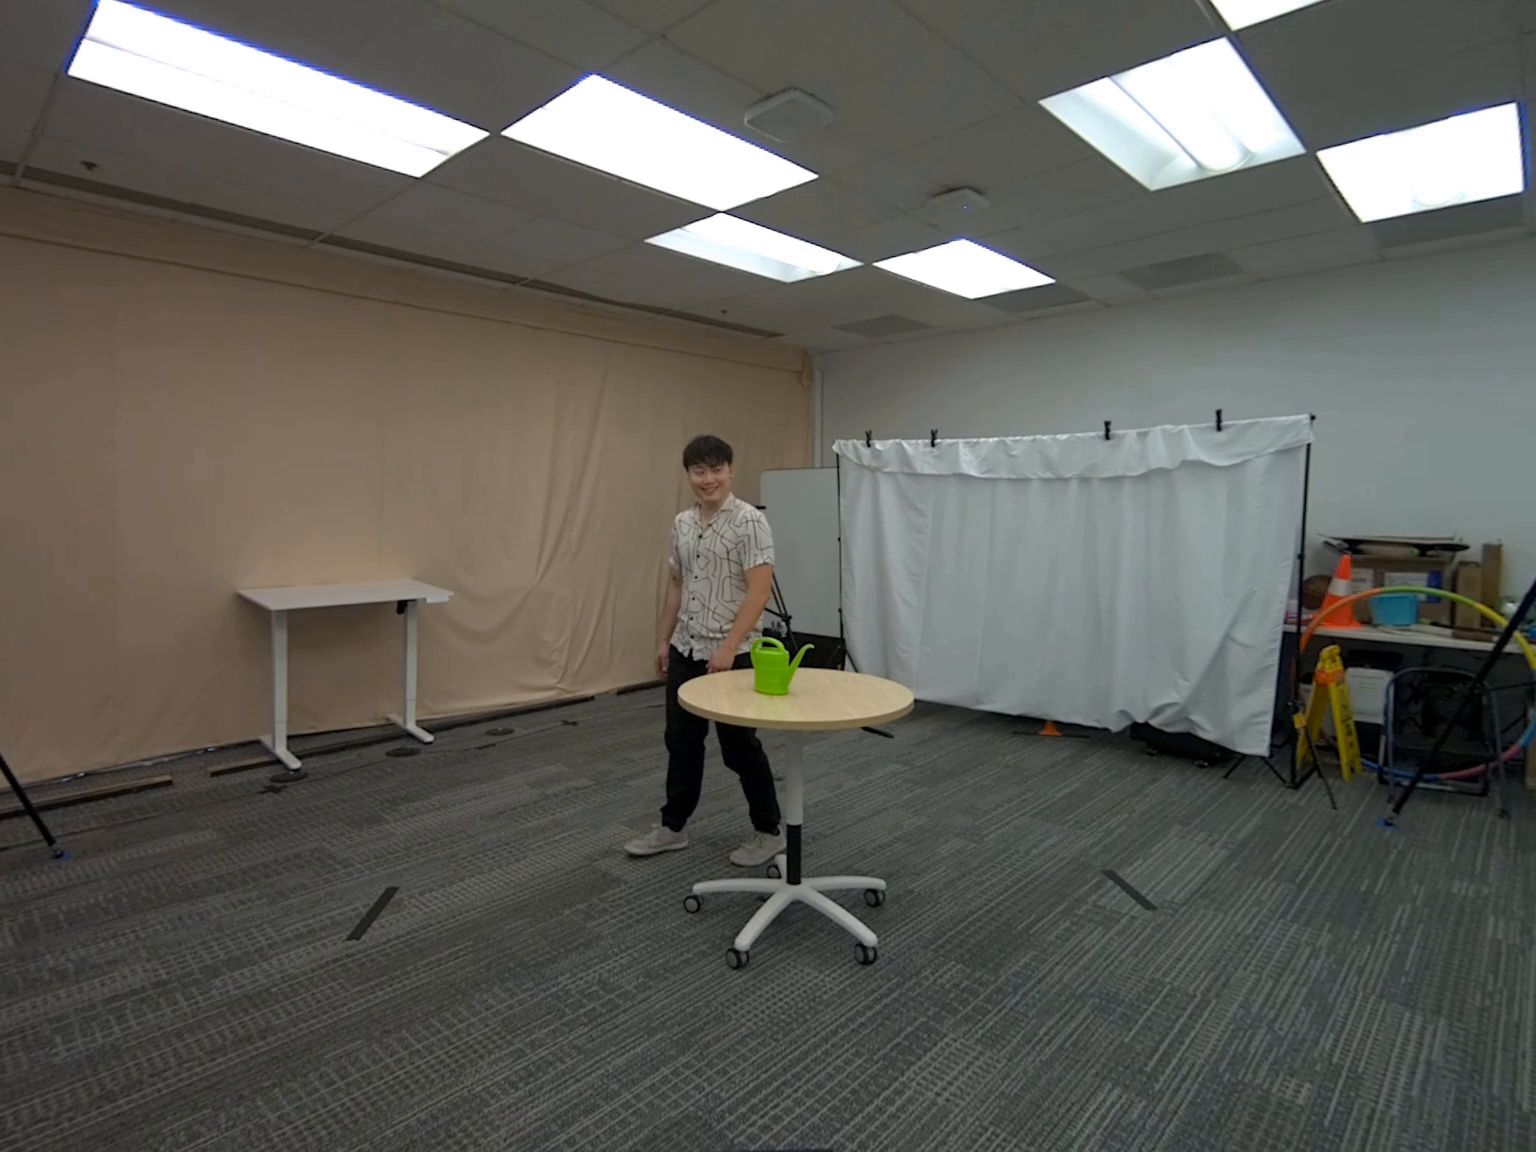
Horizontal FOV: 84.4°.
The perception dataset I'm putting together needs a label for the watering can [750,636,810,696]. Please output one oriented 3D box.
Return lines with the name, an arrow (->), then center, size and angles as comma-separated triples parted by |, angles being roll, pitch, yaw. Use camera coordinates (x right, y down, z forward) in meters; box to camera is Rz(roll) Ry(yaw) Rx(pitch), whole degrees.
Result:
watering can -> 0.034, 0.296, 2.705 | 0.095, 0.176, 0.285 | -5, 4, -27
